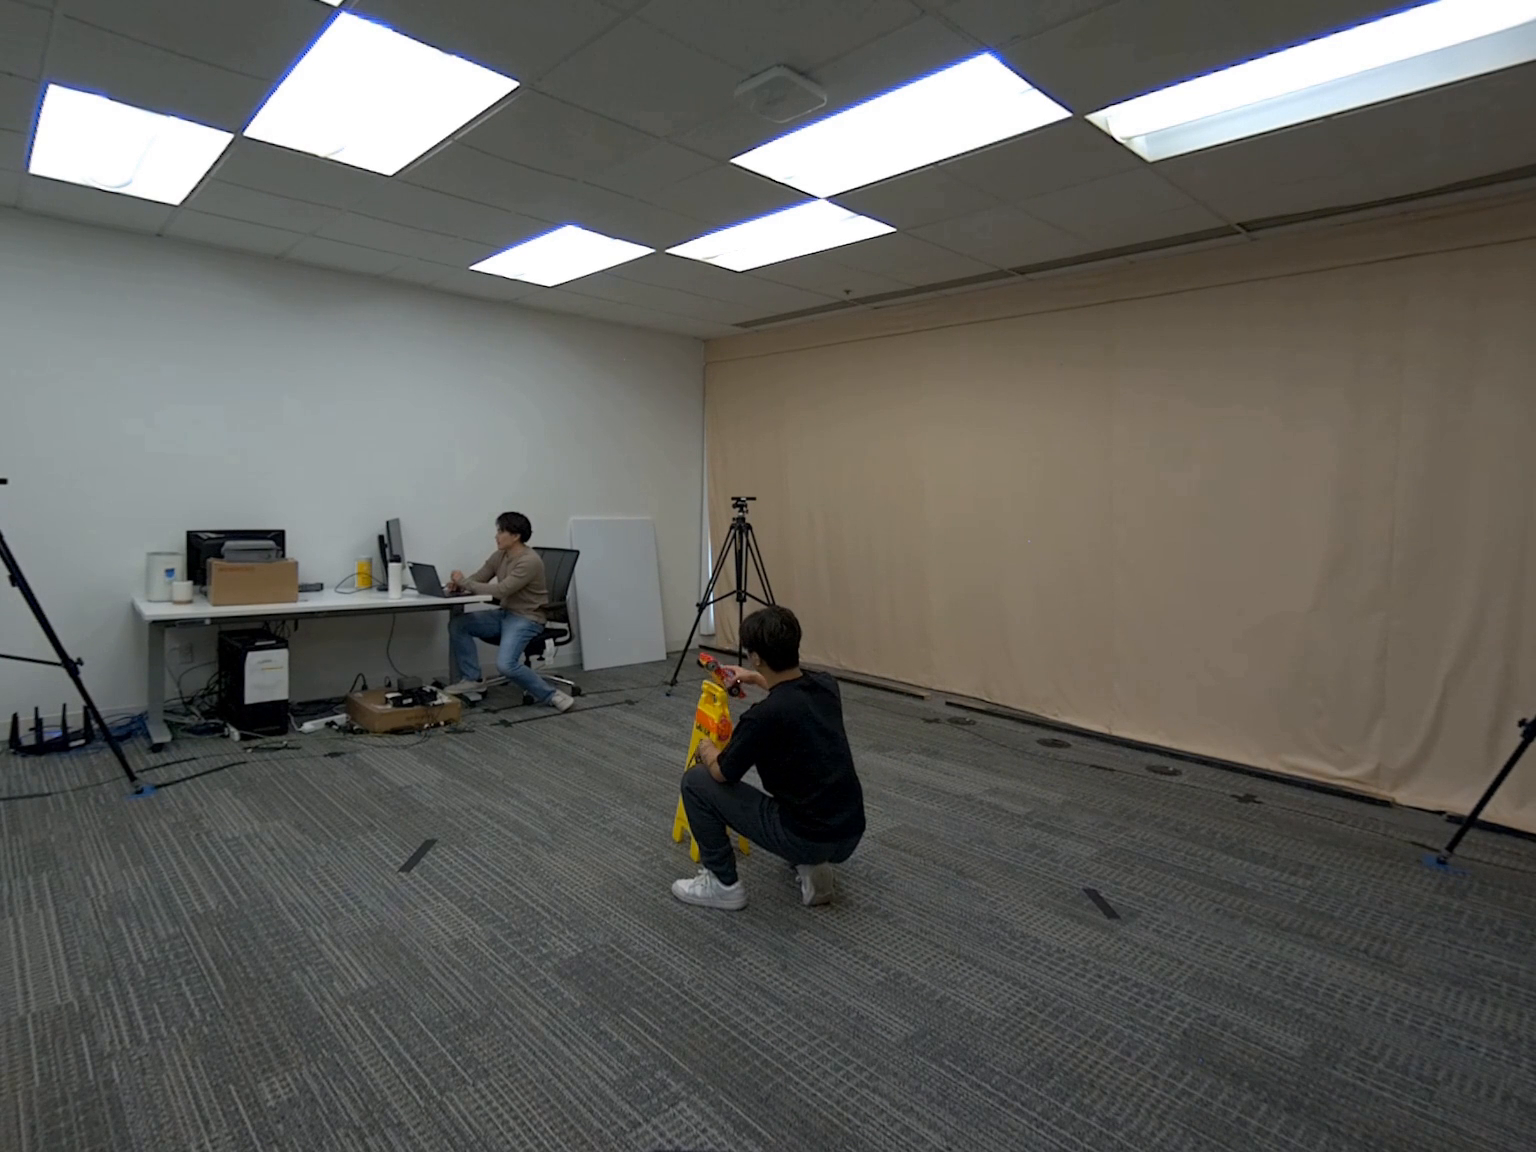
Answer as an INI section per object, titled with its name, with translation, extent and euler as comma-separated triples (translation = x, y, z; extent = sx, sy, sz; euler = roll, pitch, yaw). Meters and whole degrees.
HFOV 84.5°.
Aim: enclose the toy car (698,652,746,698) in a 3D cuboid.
[toy car]
translation = -0.188, 0.416, 3.374
extent = 0.249, 0.083, 0.133
euler = 41, -15, -23
